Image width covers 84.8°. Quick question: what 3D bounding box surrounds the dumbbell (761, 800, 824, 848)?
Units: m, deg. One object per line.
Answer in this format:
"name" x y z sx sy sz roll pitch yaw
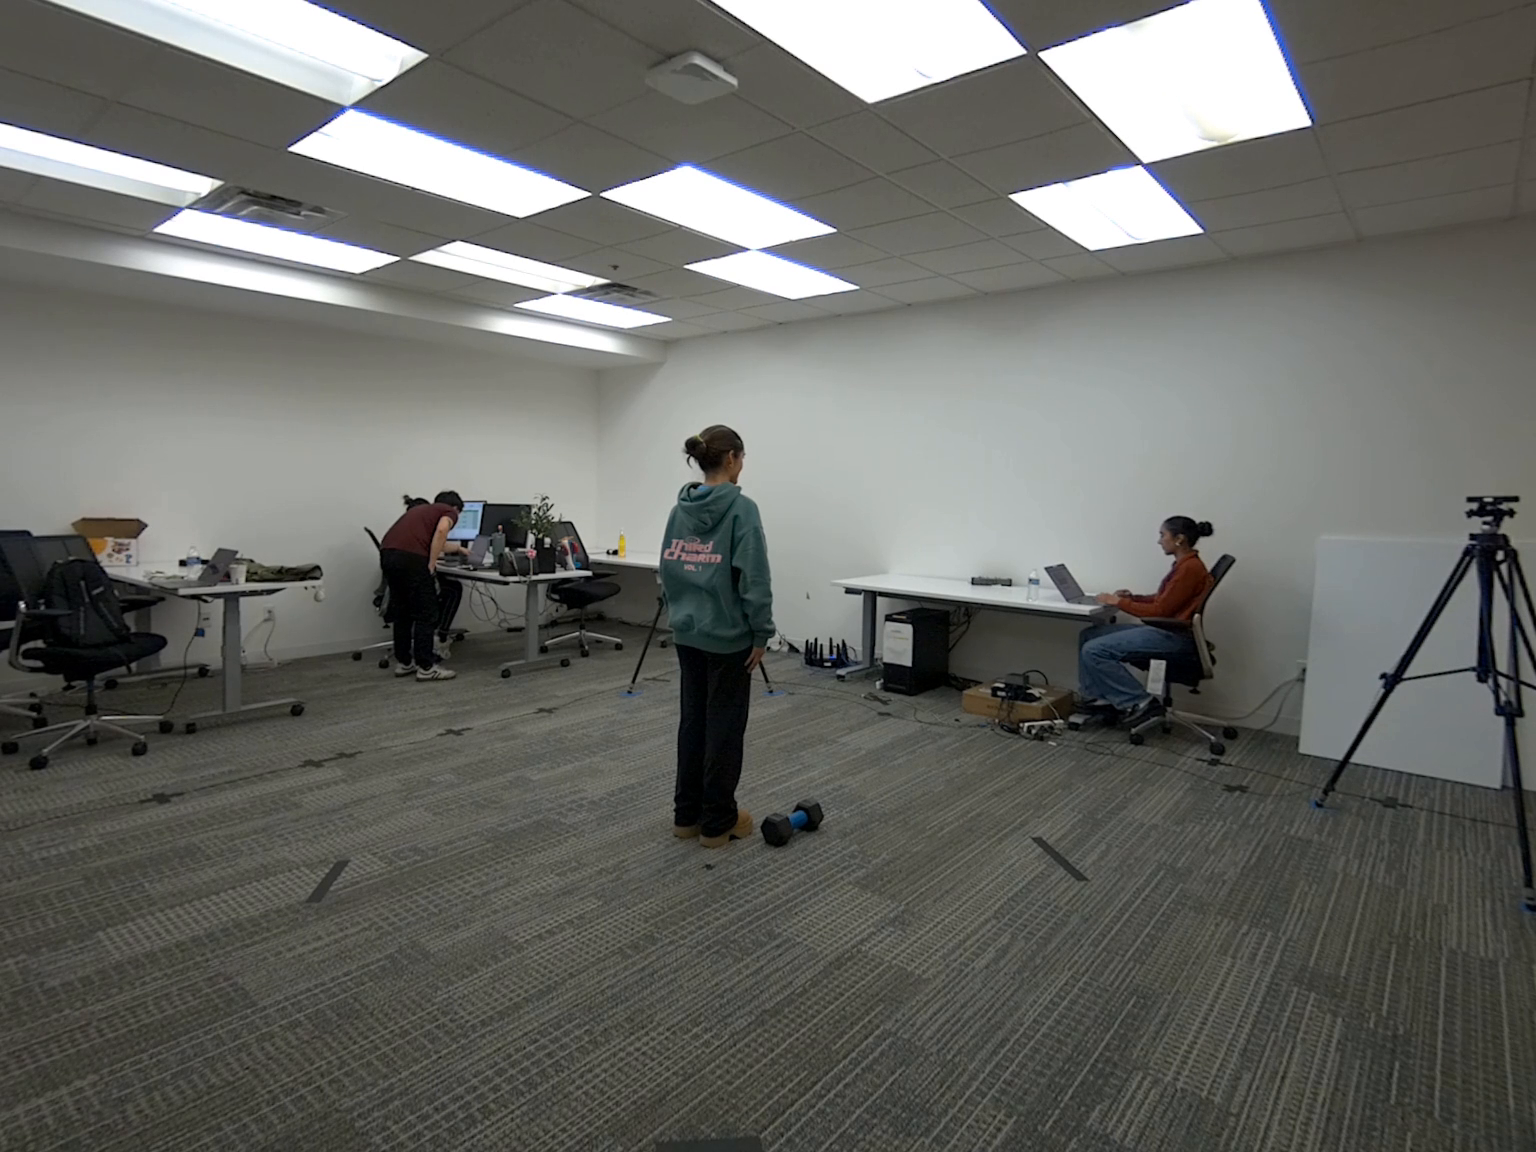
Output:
"dumbbell" 0.092 0.989 3.417 0.113 0.122 0.285 41 28 30
